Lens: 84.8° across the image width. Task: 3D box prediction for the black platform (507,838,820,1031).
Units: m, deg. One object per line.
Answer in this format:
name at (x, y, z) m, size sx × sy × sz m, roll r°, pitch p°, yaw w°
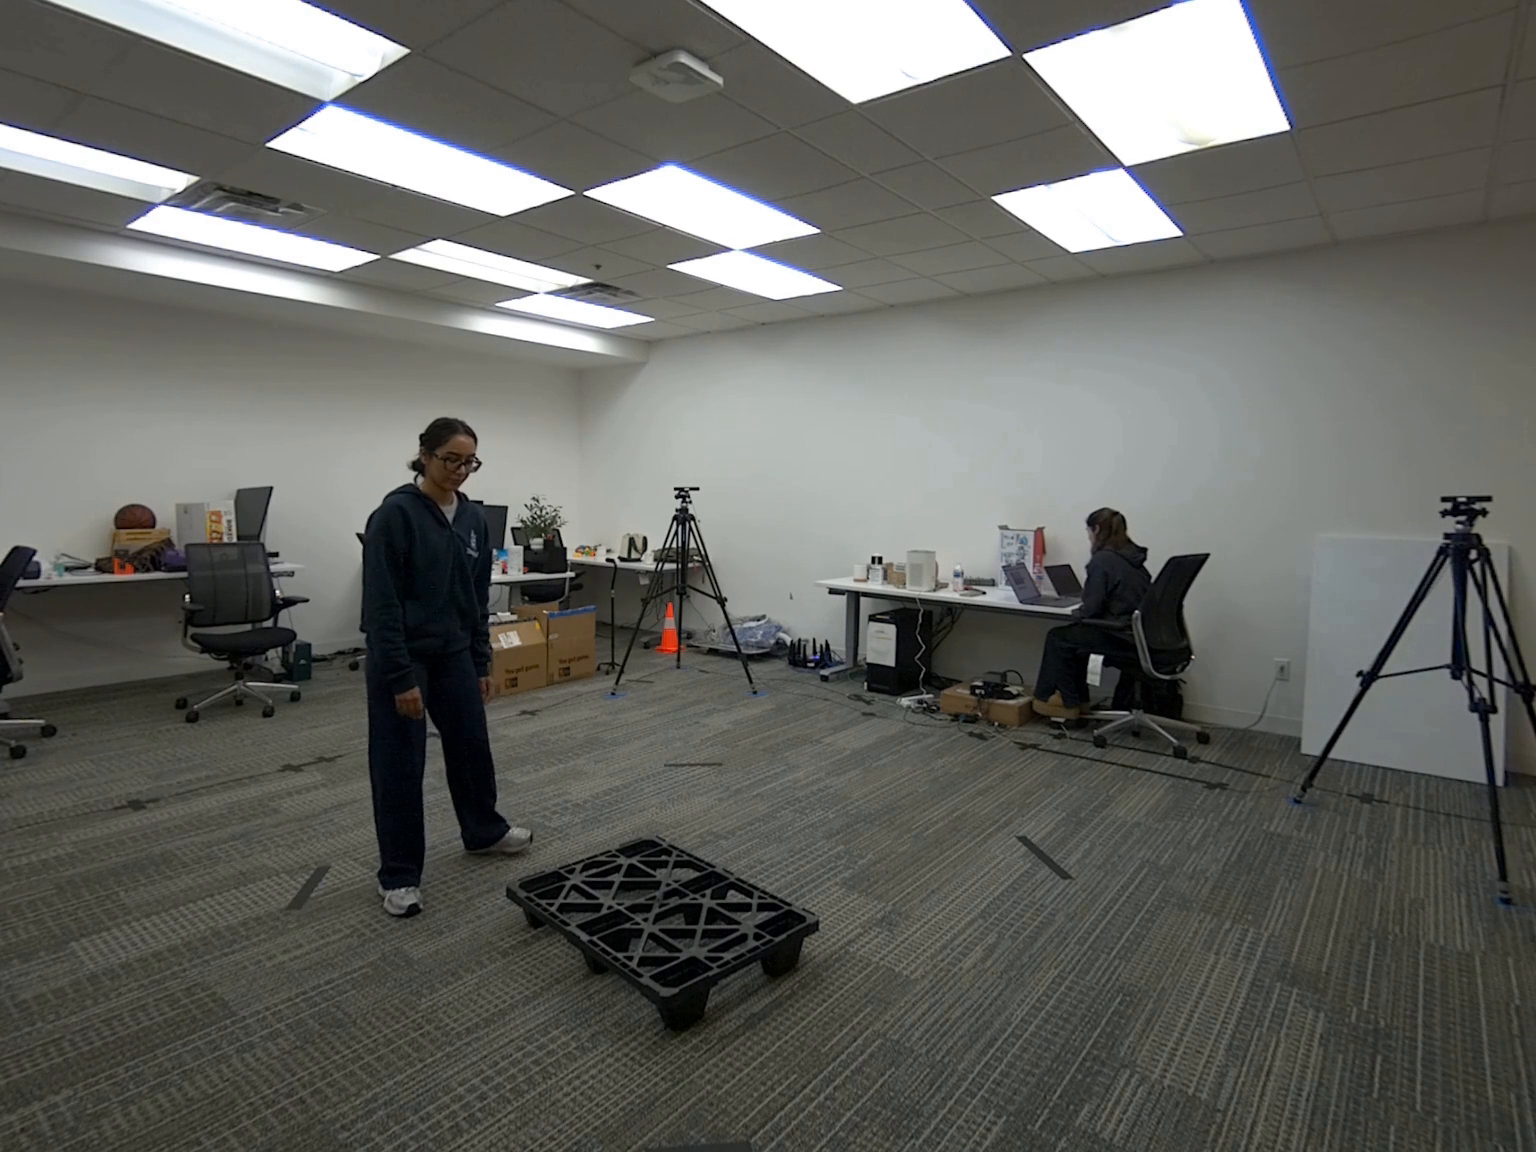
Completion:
black platform at (-0.347, 1.049, 2.593) m, size 0.587 × 0.143 × 0.833 m, roll -4°, pitch 8°, yaw -45°
